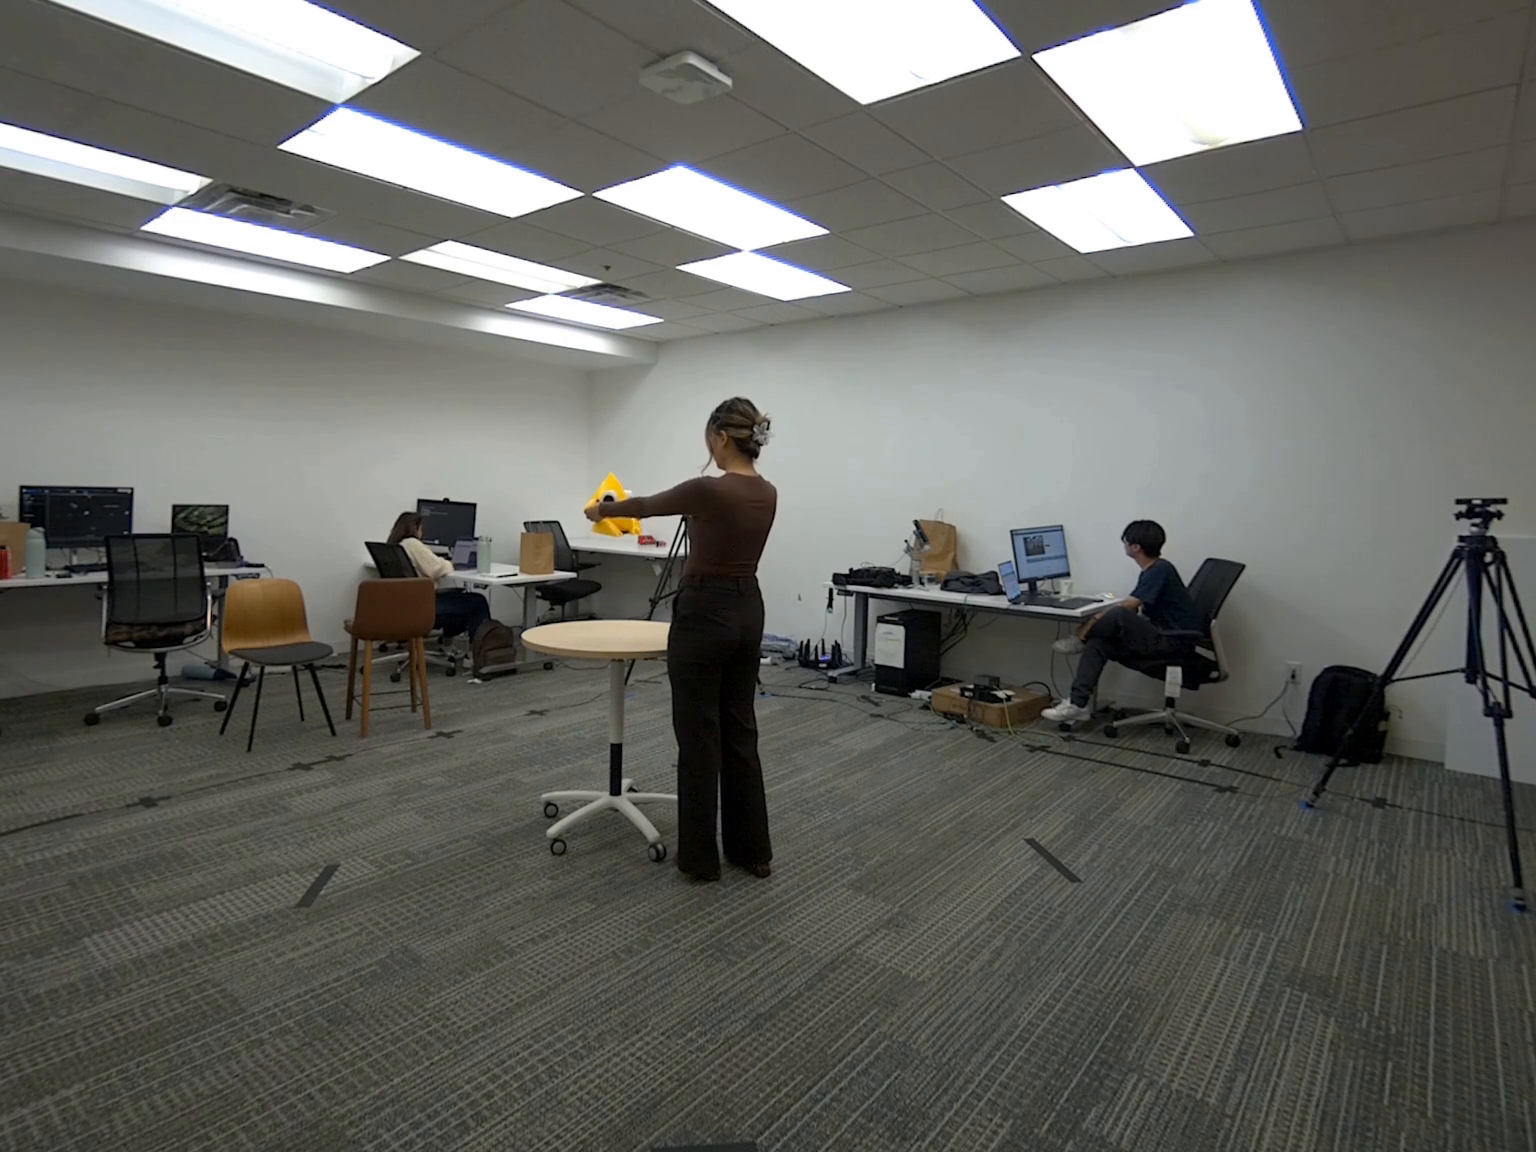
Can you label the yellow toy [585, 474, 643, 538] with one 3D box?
[{"bbox_3d":[-0.609,-0.288,3.396,0.200,0.229,0.199,14,12,36],"label":"yellow toy"}]
